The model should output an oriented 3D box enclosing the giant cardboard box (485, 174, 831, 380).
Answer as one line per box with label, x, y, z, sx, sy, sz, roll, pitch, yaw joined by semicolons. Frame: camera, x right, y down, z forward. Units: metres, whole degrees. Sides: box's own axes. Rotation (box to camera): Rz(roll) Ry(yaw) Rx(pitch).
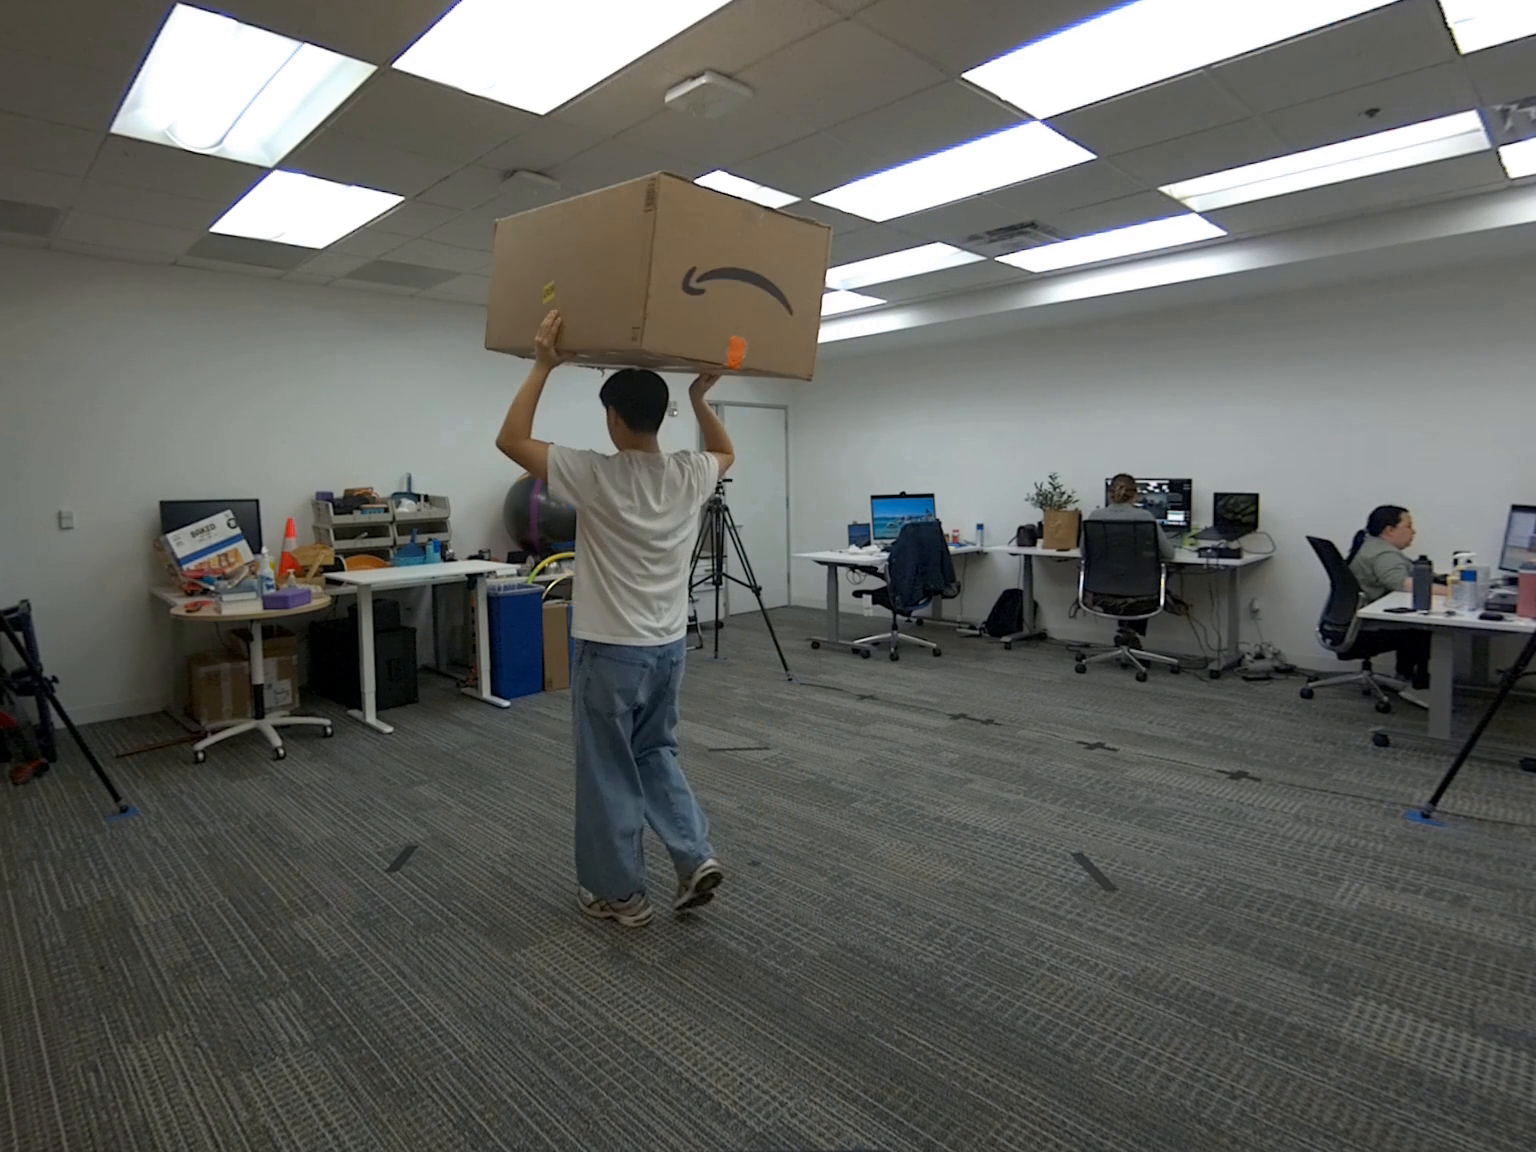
giant cardboard box;-0.381;-0.854;2.618;0.561;0.423;1.062;0;12;-39
